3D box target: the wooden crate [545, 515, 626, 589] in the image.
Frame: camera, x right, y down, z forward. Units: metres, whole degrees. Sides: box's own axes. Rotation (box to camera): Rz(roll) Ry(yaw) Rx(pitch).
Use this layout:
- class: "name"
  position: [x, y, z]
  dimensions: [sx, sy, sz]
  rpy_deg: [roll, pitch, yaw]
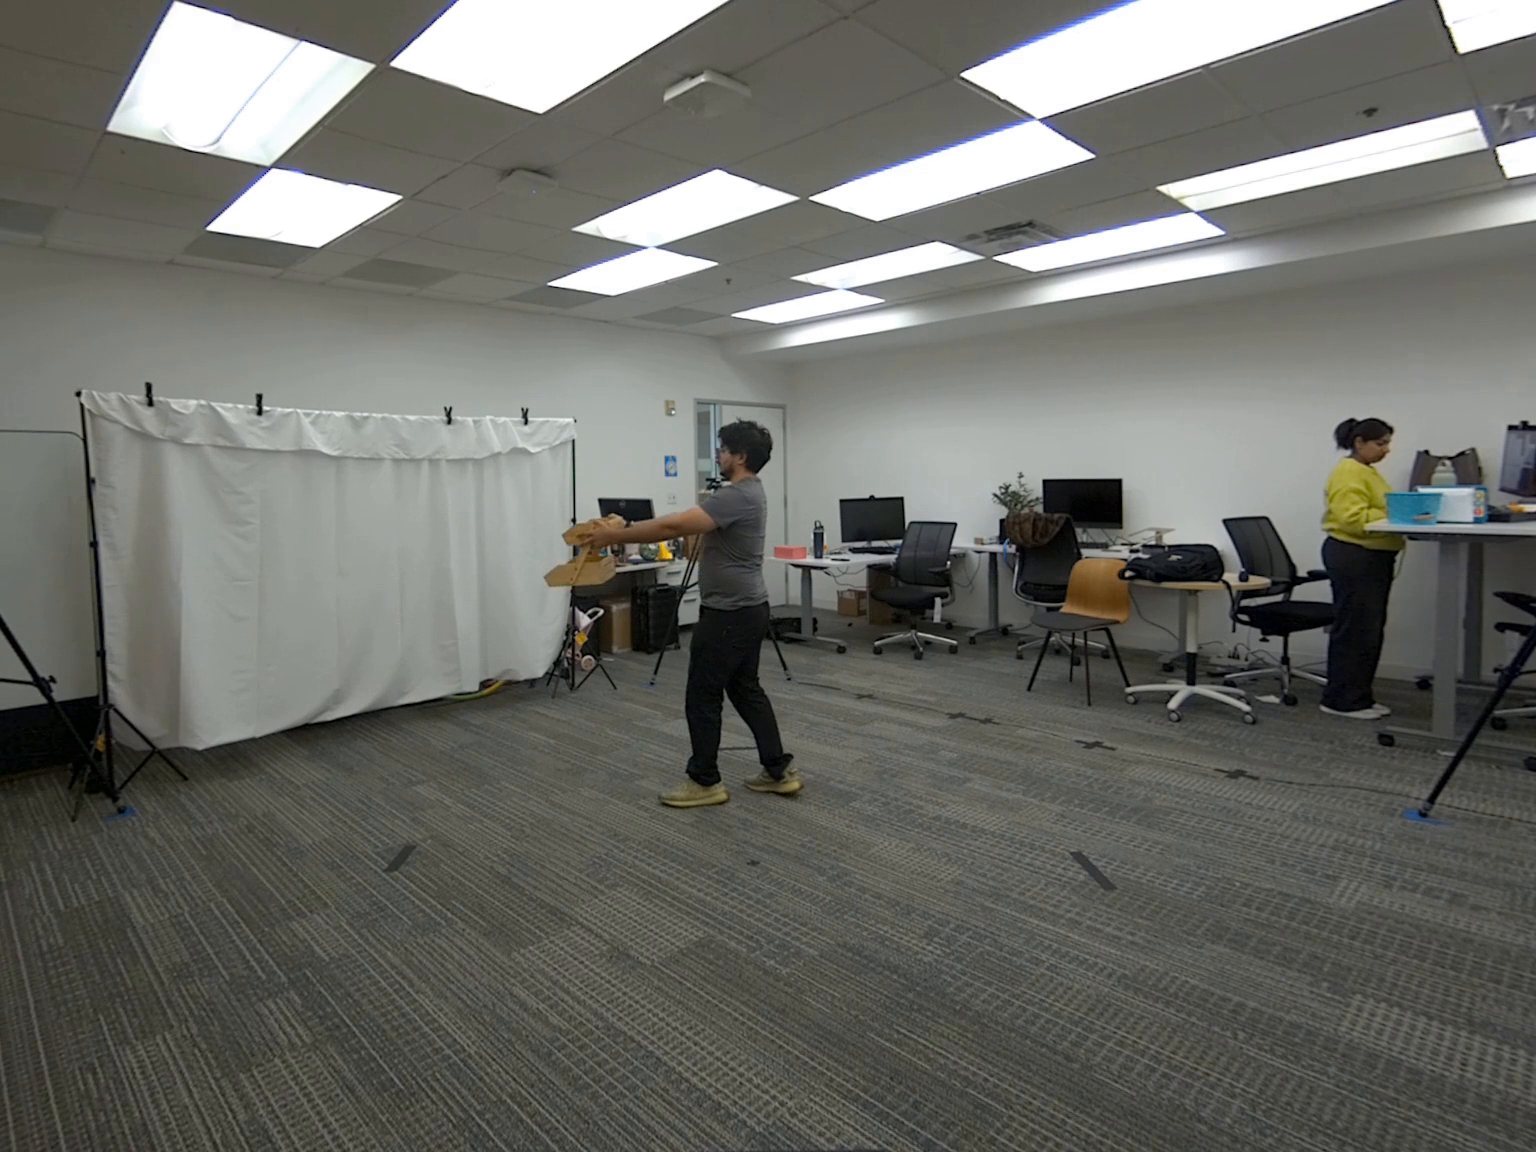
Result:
- class: "wooden crate"
  position: [-0.801, -0.116, 3.743]
  dimensions: [0.303, 0.272, 0.325]
  rpy_deg: [-2, 6, 4]
